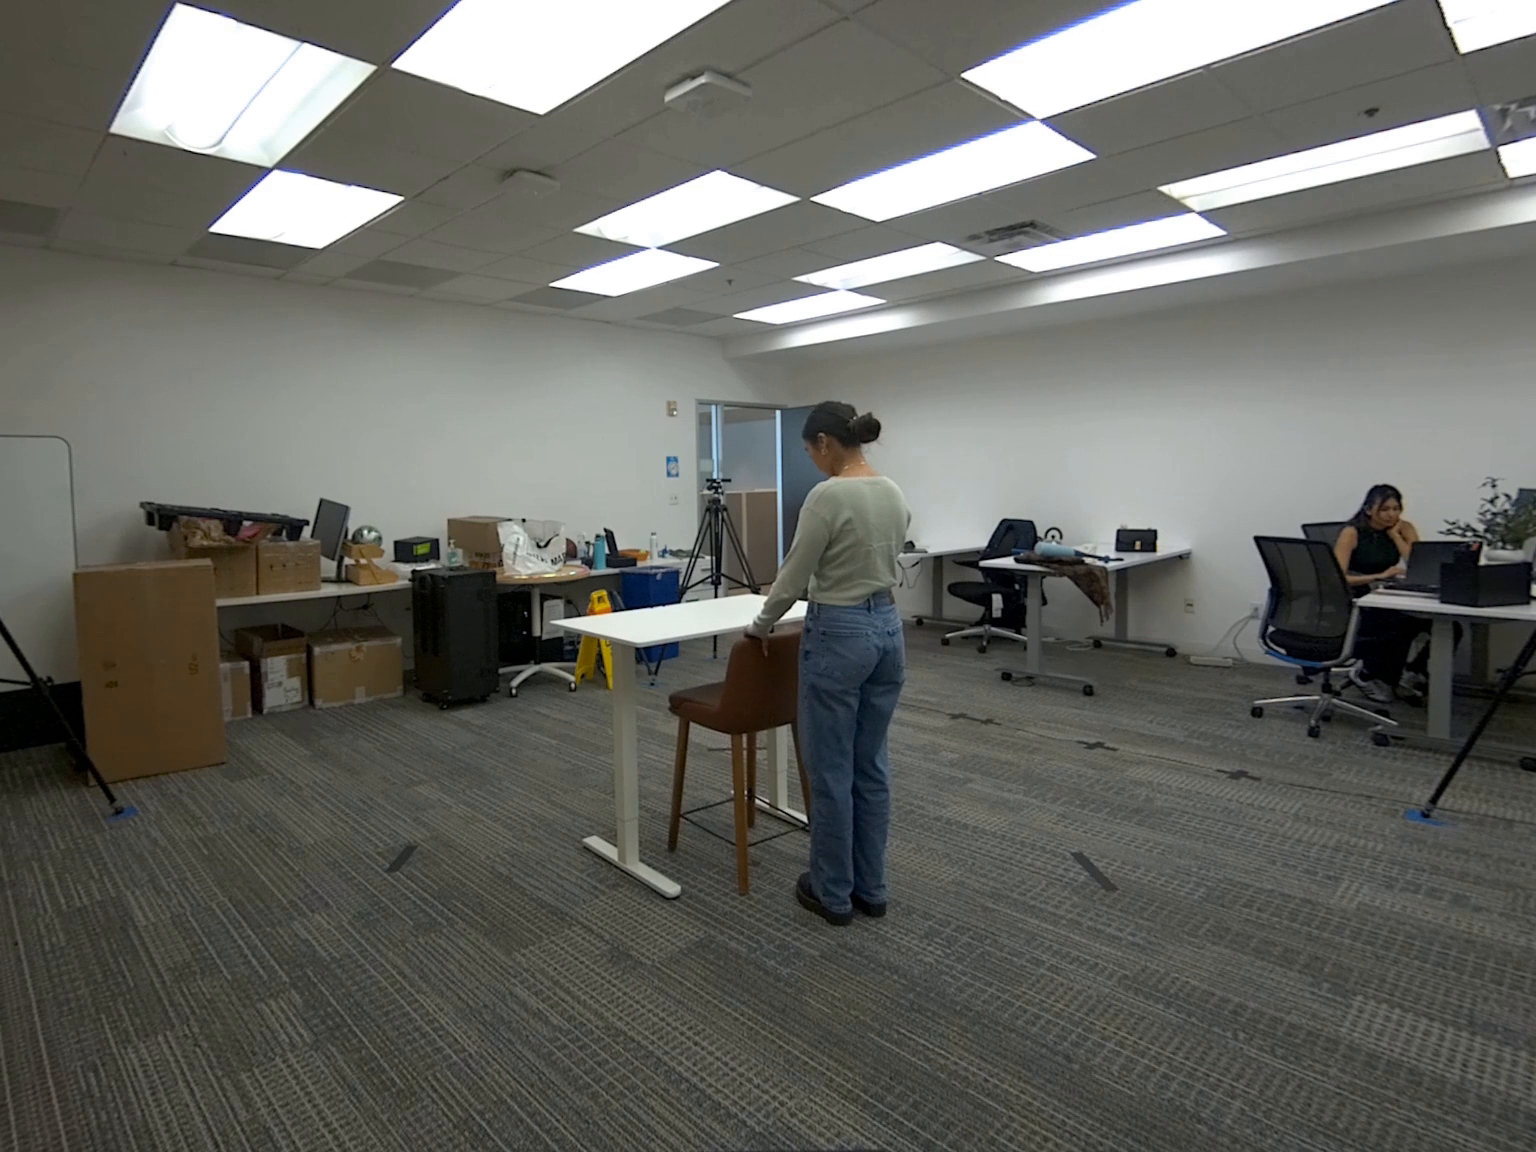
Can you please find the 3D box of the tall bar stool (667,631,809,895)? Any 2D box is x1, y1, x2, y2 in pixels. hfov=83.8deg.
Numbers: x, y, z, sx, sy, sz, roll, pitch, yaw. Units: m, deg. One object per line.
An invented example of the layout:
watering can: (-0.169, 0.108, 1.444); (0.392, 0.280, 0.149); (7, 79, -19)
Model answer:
tall bar stool: (-0.080, 0.607, 3.115); (0.445, 0.885, 0.482); (-4, 7, -37)
